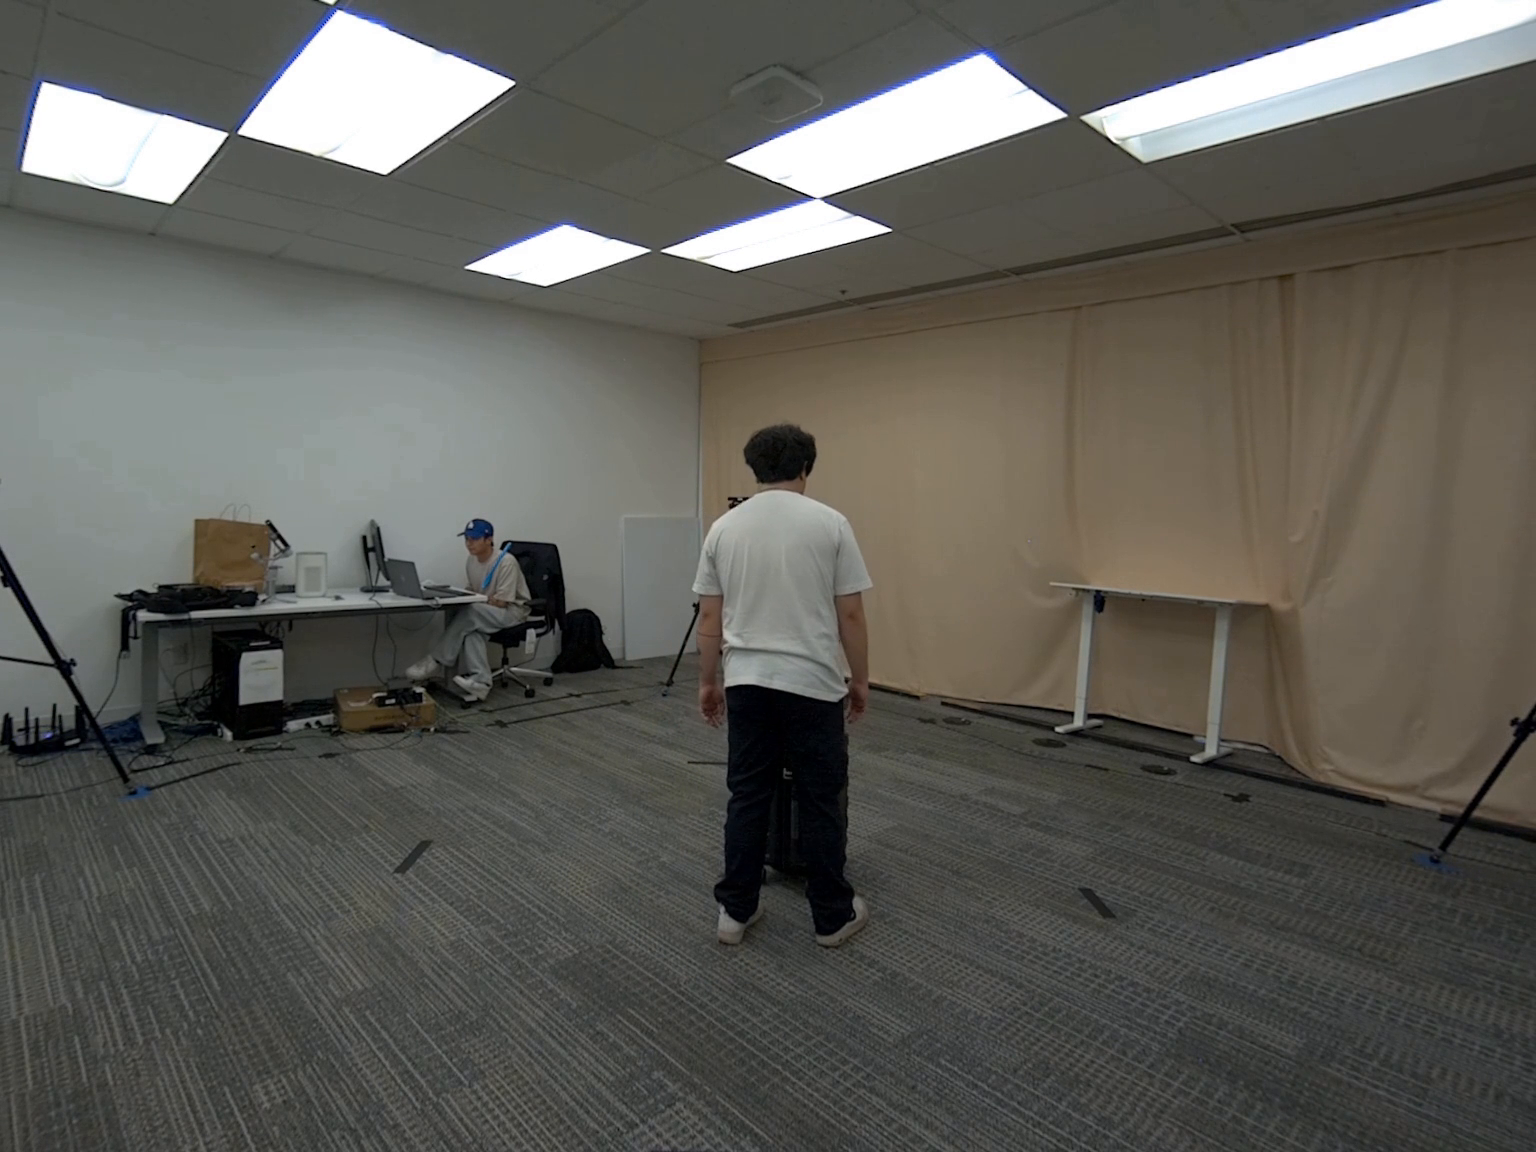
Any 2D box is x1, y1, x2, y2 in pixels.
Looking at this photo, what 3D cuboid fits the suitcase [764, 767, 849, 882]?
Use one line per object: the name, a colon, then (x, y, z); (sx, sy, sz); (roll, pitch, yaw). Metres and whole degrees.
suitcase: (0.130, 0.641, 3.140); (0.262, 0.979, 0.376); (0, 0, 27)
